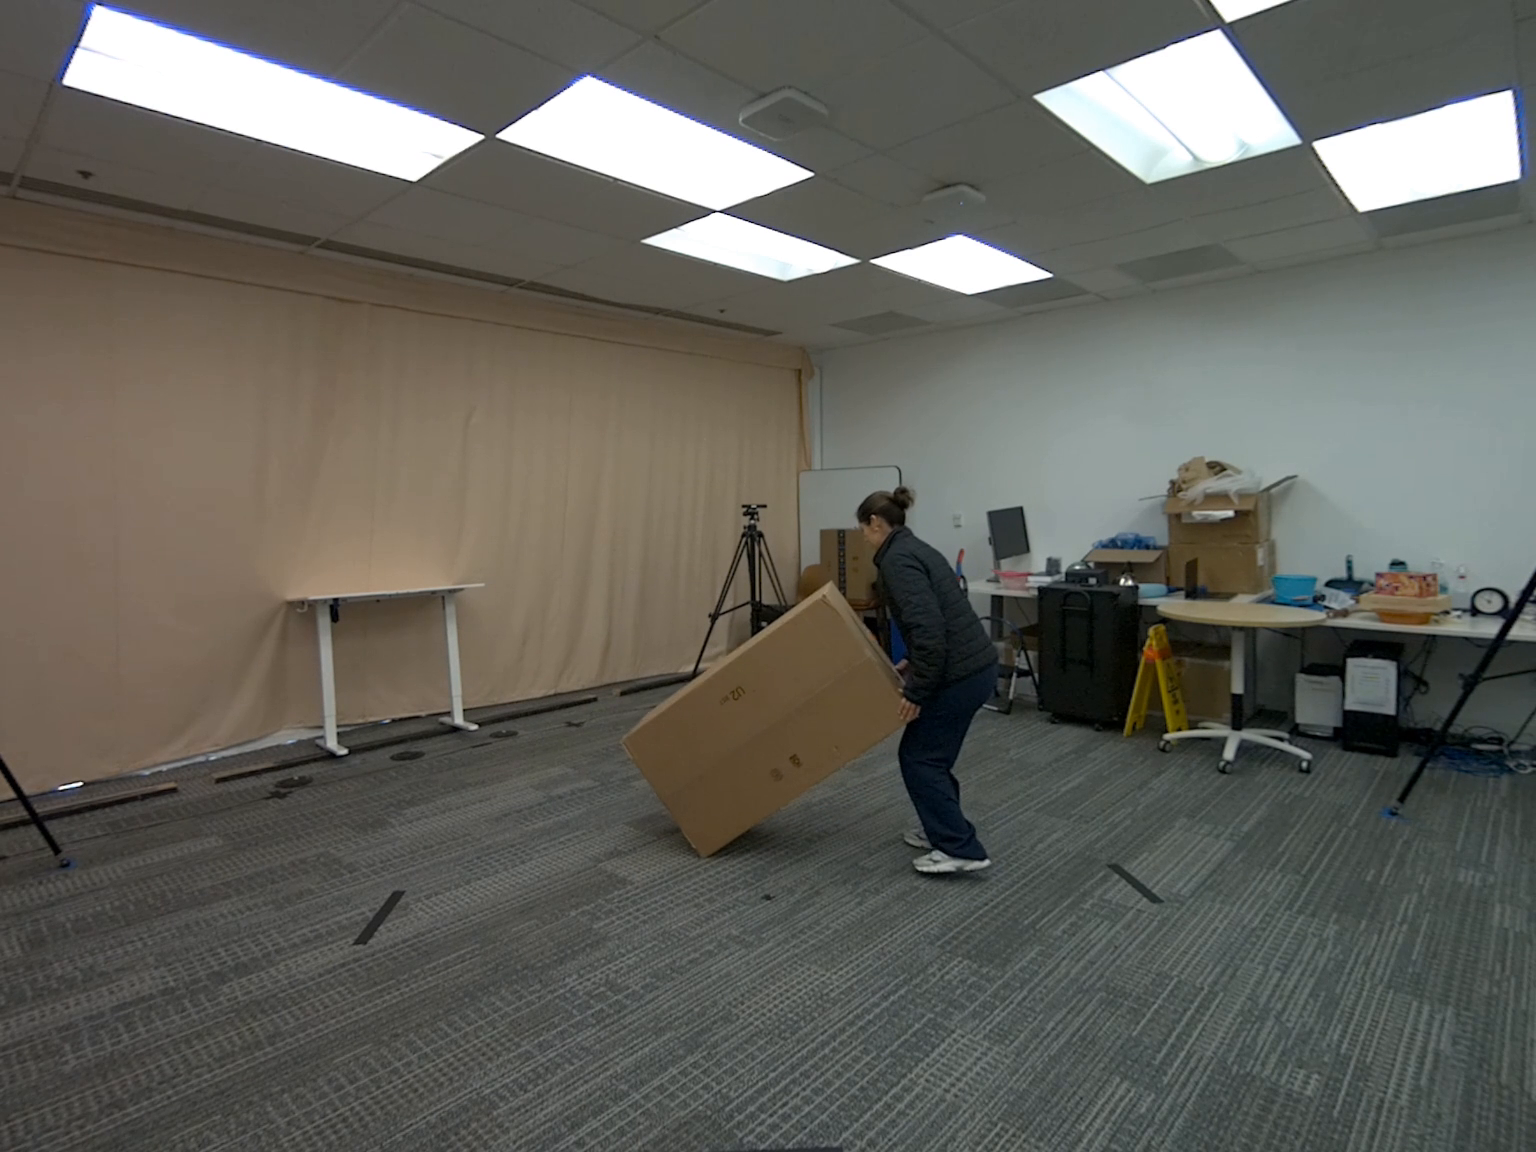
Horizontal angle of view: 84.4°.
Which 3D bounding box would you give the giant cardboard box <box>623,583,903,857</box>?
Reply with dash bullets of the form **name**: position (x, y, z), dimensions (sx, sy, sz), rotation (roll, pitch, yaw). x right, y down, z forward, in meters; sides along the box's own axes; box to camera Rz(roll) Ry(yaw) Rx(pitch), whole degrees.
- **giant cardboard box**: position (0.020, 0.572, 3.444), dimensions (1.032, 0.587, 0.442), rotation (-37, -4, 11)
